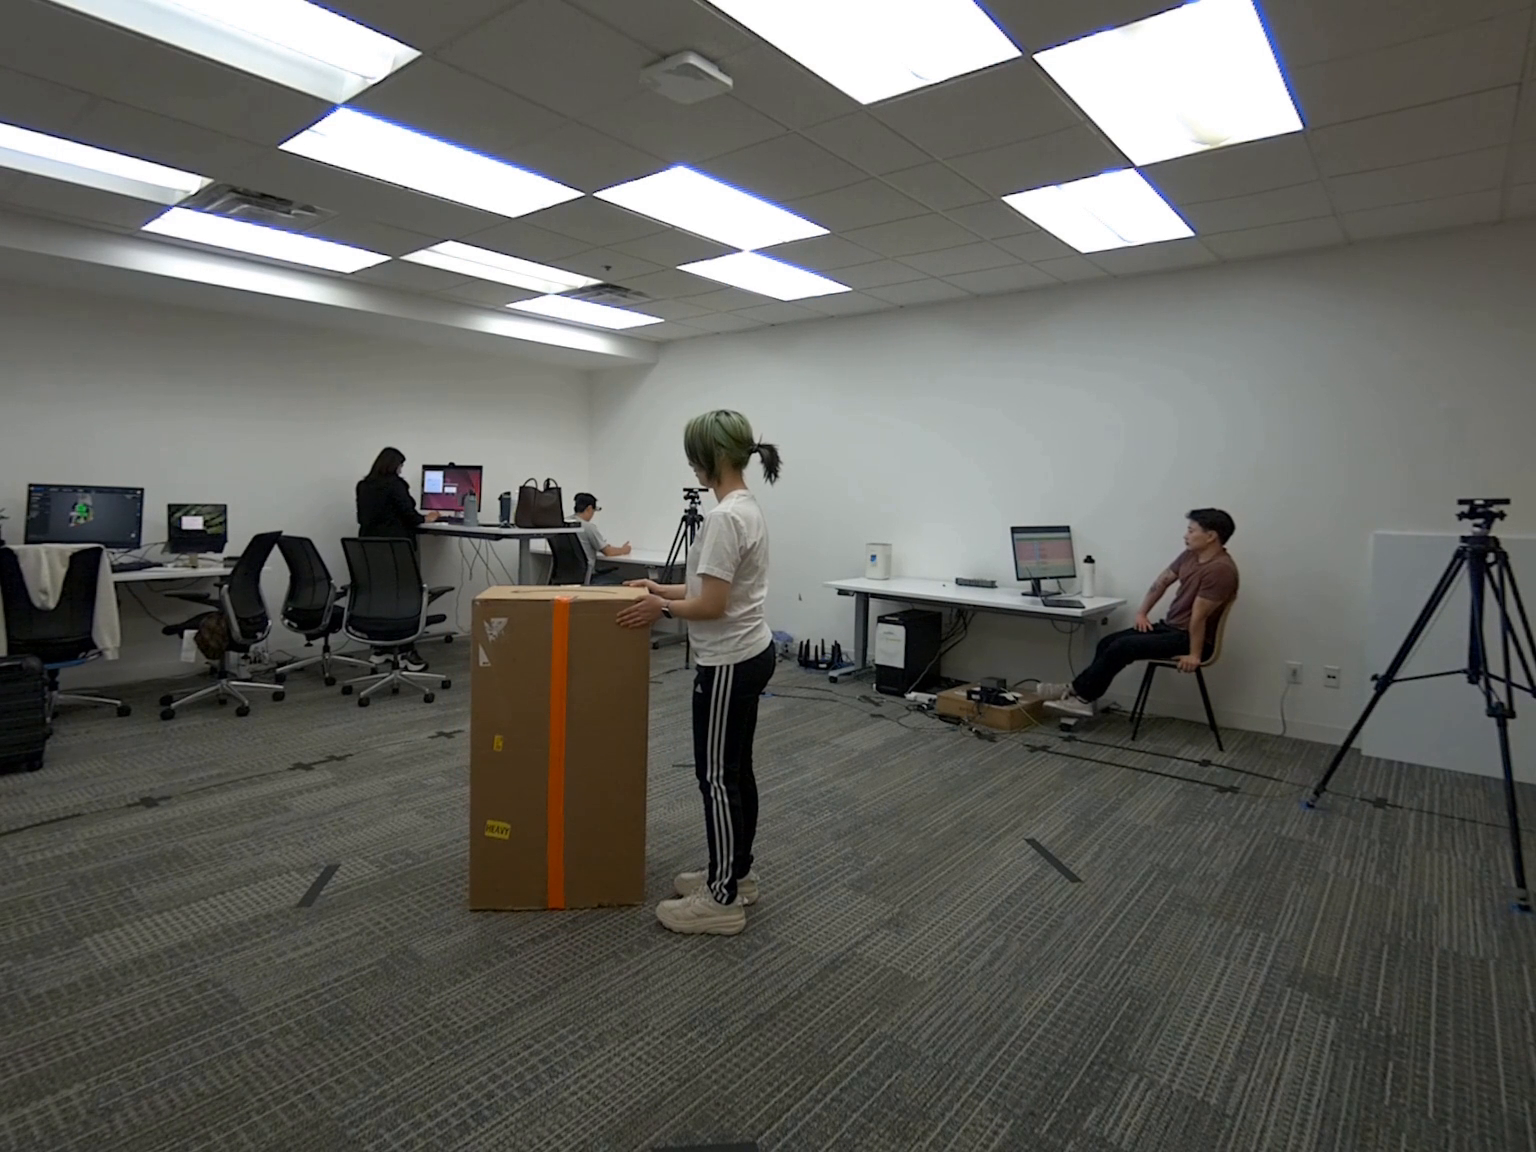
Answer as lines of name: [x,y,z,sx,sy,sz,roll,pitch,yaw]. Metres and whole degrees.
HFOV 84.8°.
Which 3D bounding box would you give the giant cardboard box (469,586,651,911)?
giant cardboard box: [-0.727,0.566,2.991,0.574,1.024,0.430,1,2,-7]
